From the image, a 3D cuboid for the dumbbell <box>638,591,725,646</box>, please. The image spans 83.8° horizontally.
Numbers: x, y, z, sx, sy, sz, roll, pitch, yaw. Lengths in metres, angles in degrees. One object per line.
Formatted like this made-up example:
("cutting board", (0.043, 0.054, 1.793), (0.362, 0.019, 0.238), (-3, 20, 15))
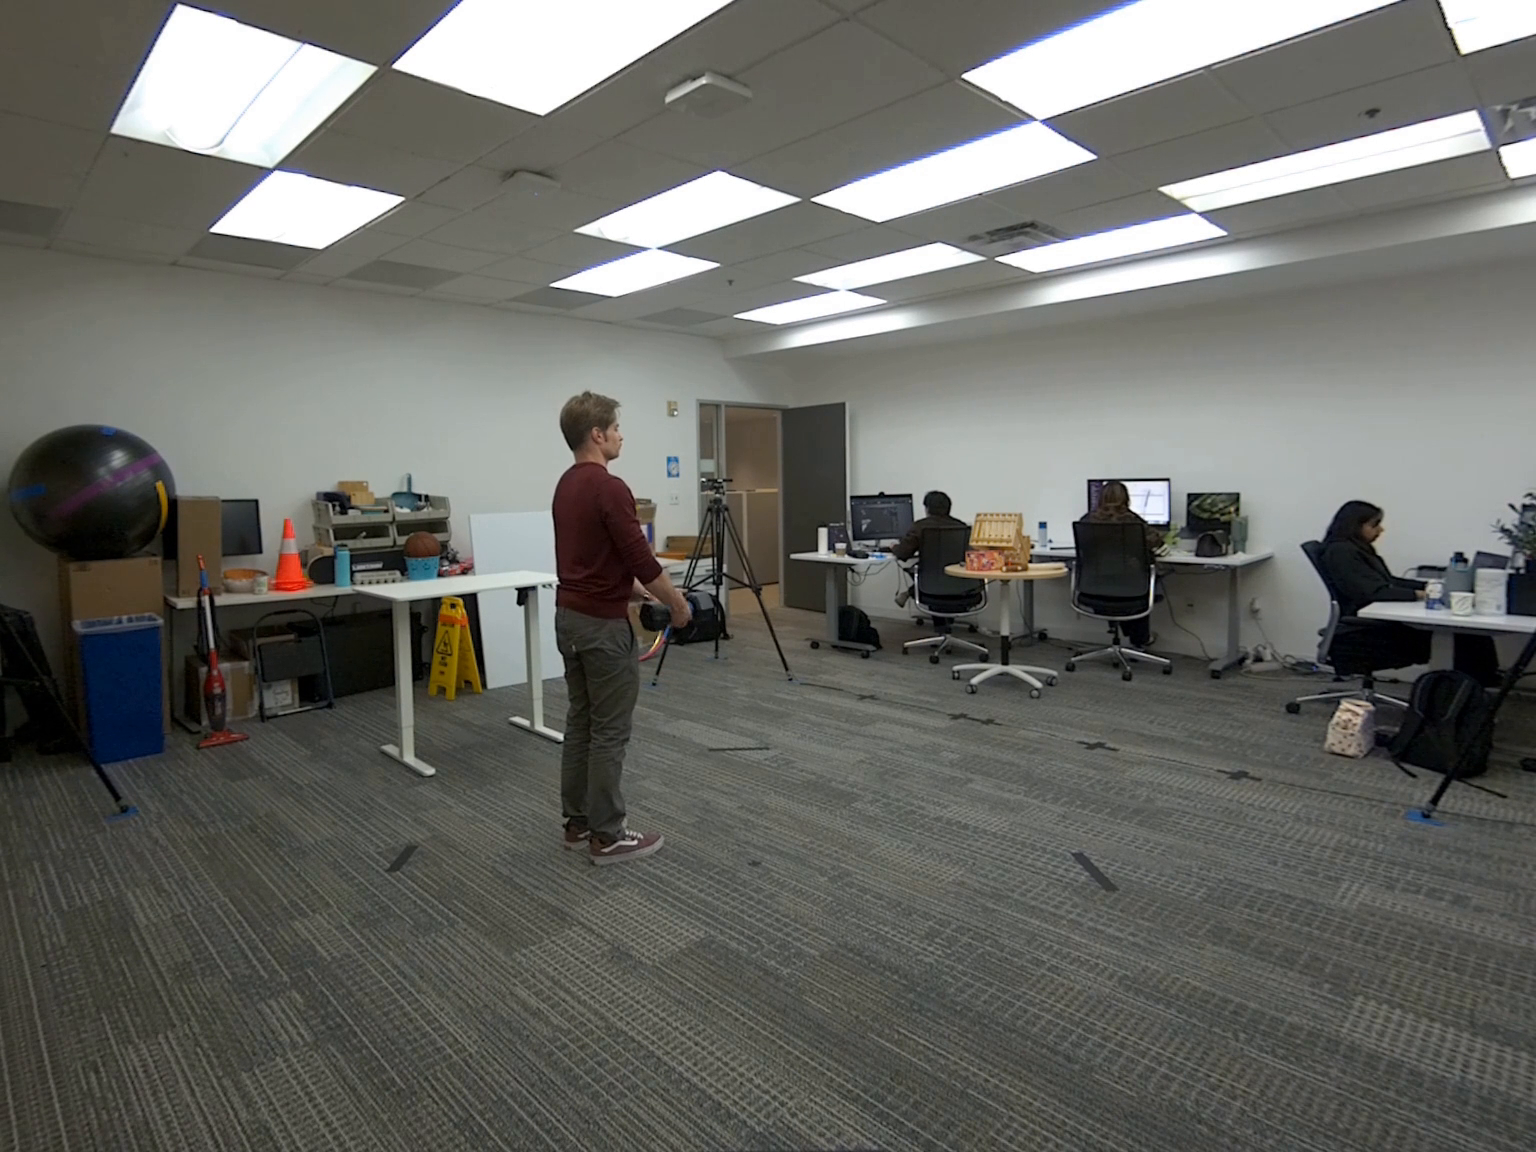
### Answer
("dumbbell", (-0.358, 0.138, 3.334), (0.287, 0.121, 0.113), (-12, 40, -37))
